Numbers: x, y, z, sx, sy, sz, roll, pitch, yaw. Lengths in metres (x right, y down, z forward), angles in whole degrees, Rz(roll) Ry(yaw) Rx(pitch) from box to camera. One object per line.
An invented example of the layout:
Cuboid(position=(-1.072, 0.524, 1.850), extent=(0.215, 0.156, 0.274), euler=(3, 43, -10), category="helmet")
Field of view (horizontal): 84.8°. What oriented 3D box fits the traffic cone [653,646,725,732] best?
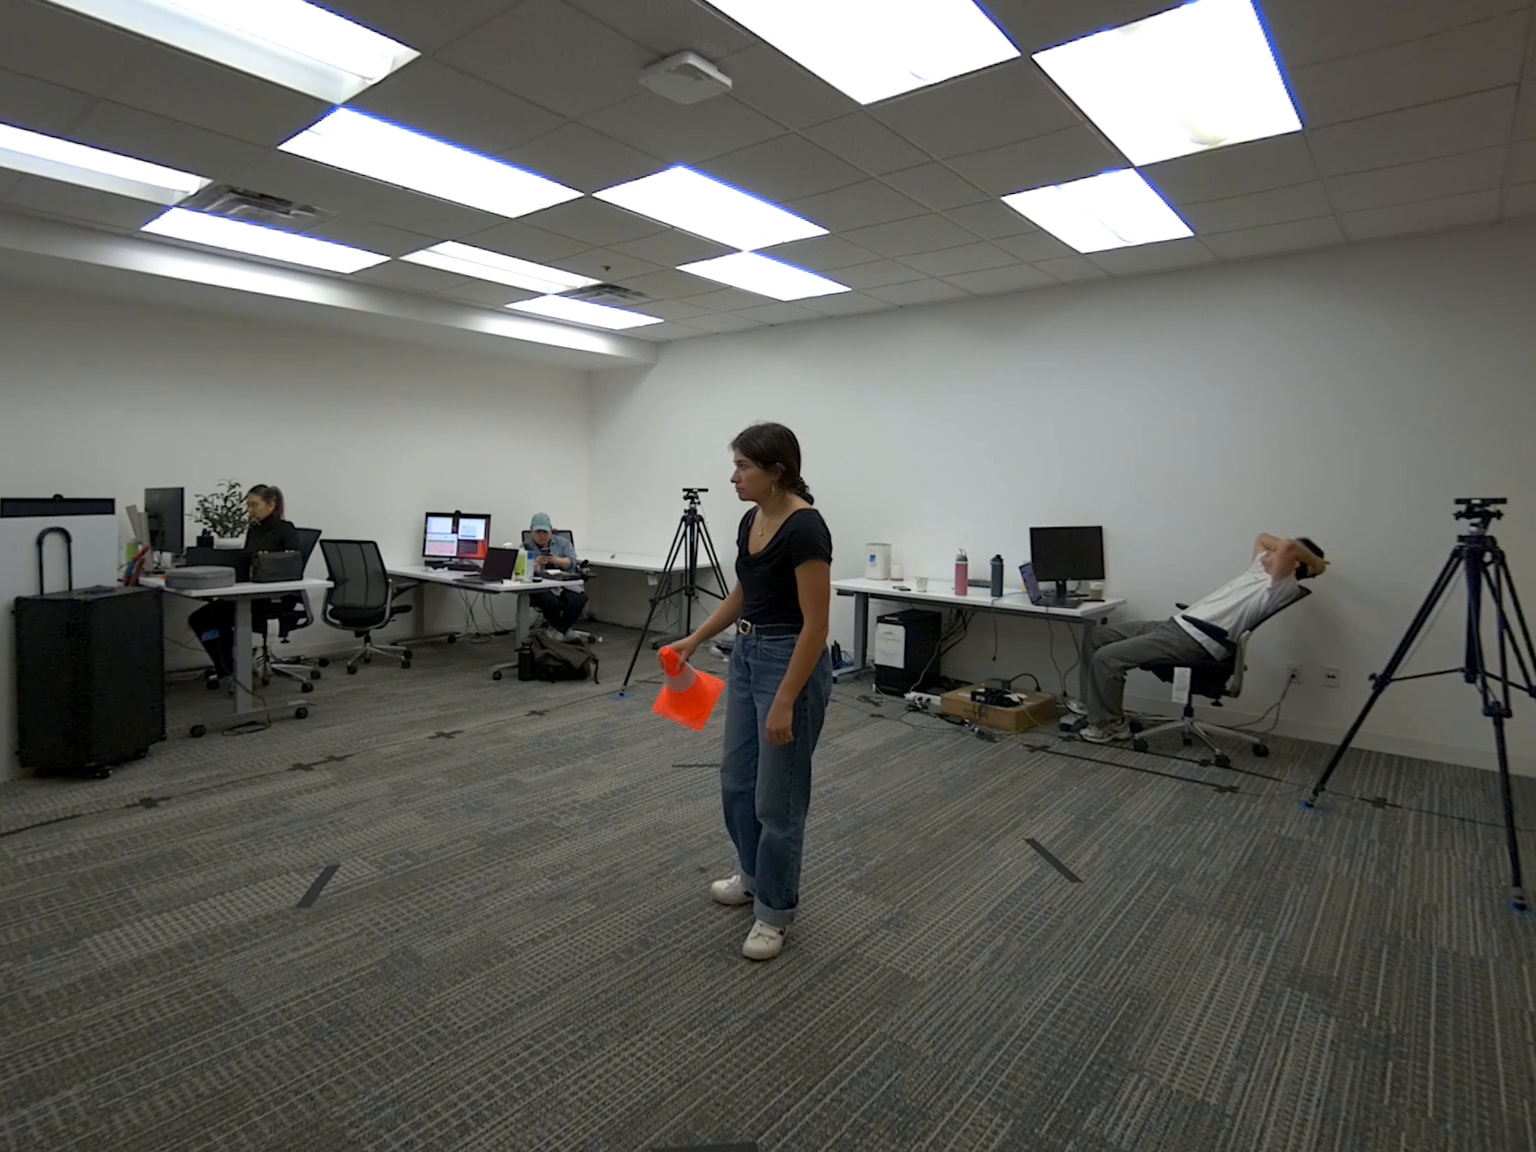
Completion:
Cuboid(position=(-0.268, 0.311, 2.800), extent=(0.208, 0.206, 0.372), euler=(21, -27, 18), category="traffic cone")
